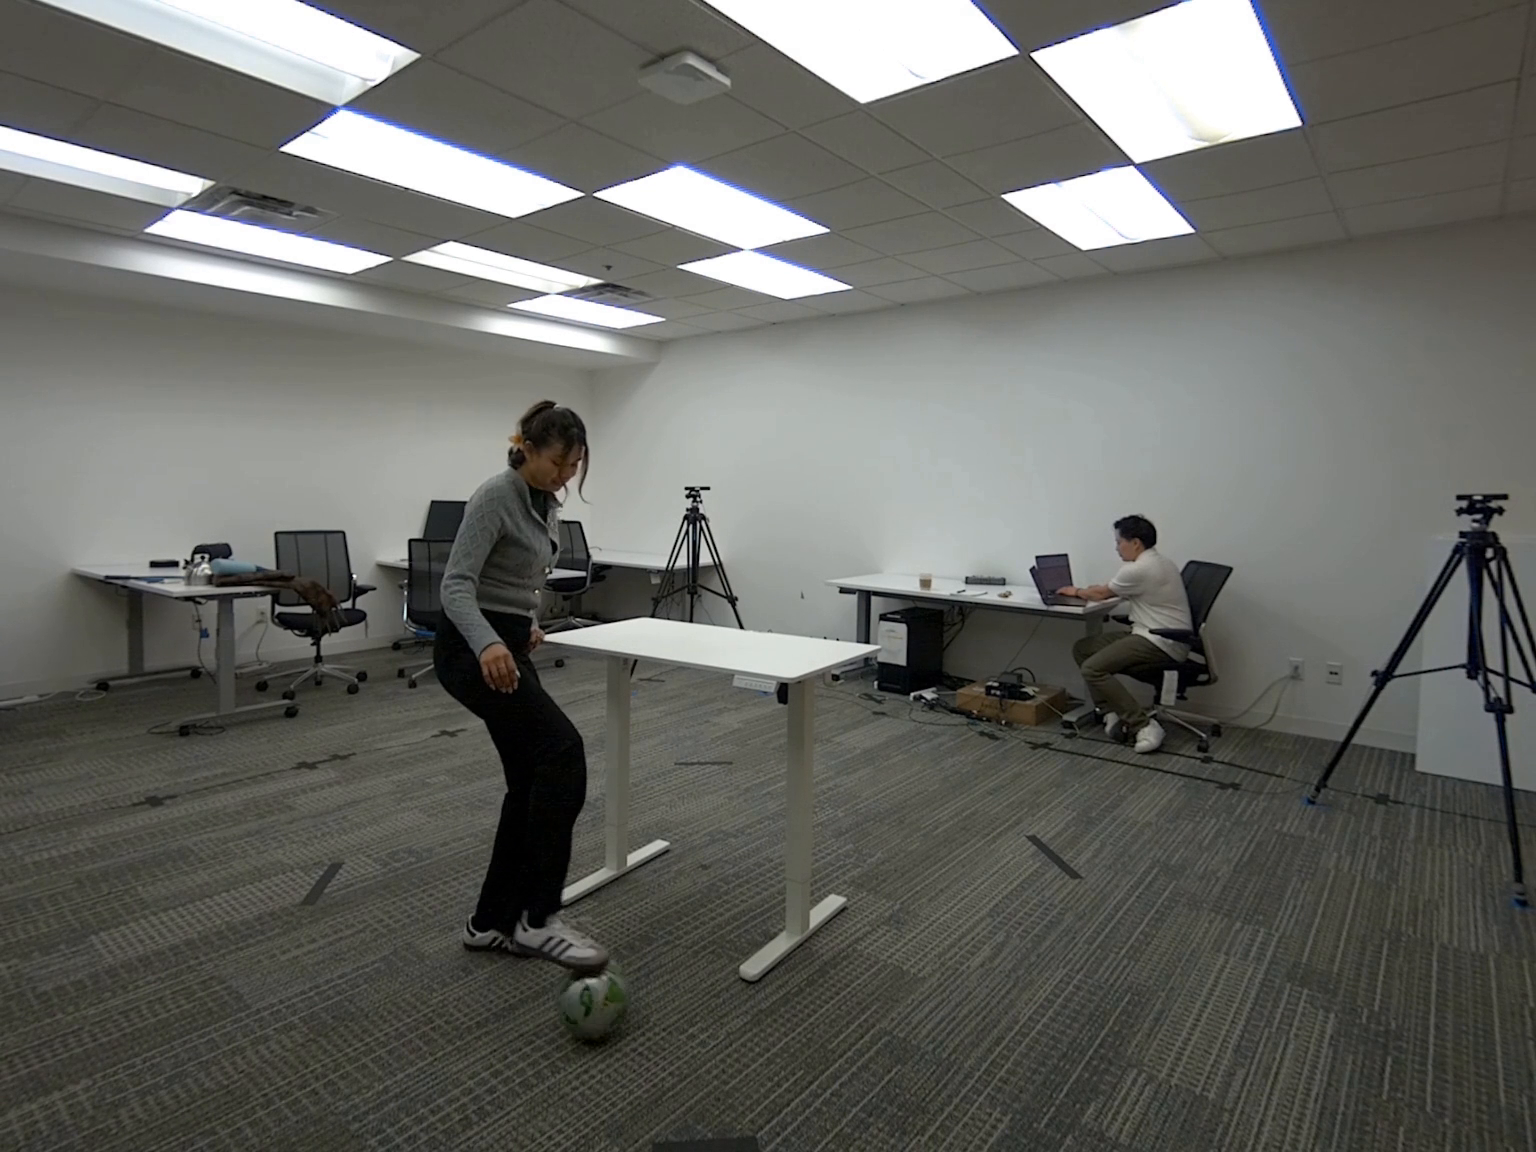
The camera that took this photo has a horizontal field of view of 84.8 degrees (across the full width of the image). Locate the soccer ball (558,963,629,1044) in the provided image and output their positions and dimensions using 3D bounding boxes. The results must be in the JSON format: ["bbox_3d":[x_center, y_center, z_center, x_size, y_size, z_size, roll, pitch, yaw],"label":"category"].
[{"bbox_3d":[-0.453,1.062,2.185,0.187,0.187,0.188,0,4,-2],"label":"soccer ball"}]
